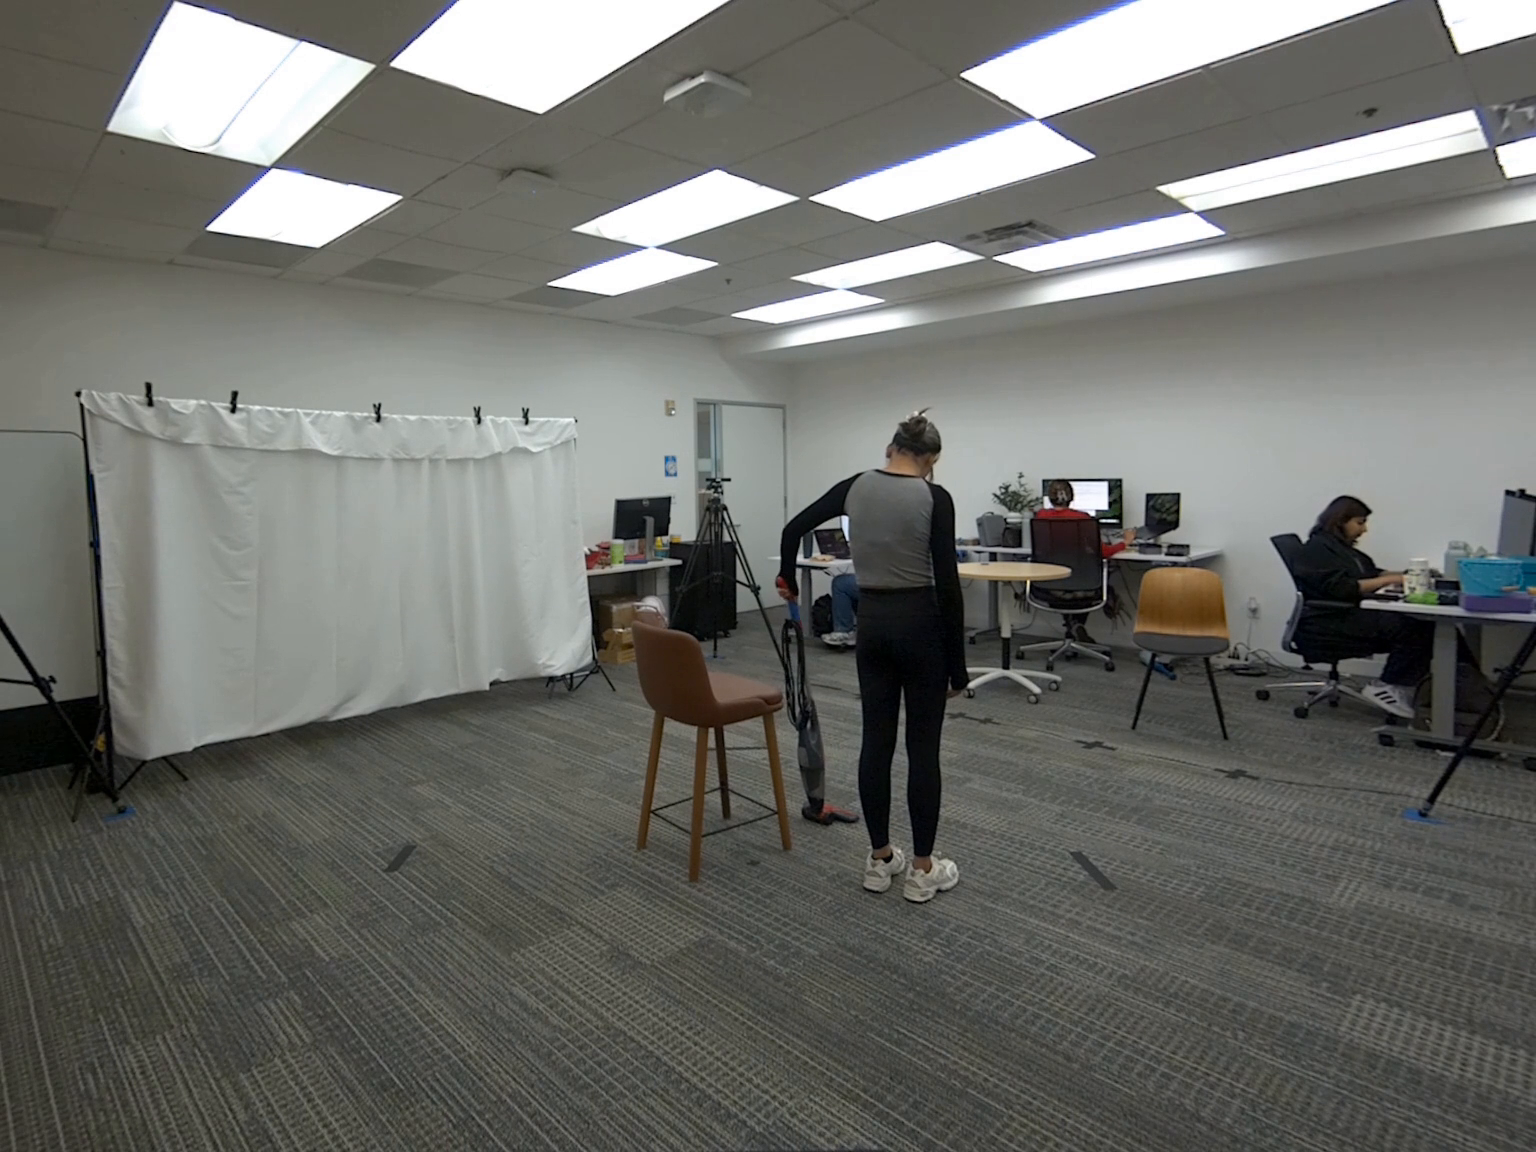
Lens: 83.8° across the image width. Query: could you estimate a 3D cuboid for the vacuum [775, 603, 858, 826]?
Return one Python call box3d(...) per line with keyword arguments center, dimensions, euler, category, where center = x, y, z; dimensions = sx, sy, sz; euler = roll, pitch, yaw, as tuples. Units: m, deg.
box3d(center=(0.143, 0.515, 3.384), dimensions=(0.142, 1.032, 0.261), euler=(-24, 21, -40), category="vacuum")
